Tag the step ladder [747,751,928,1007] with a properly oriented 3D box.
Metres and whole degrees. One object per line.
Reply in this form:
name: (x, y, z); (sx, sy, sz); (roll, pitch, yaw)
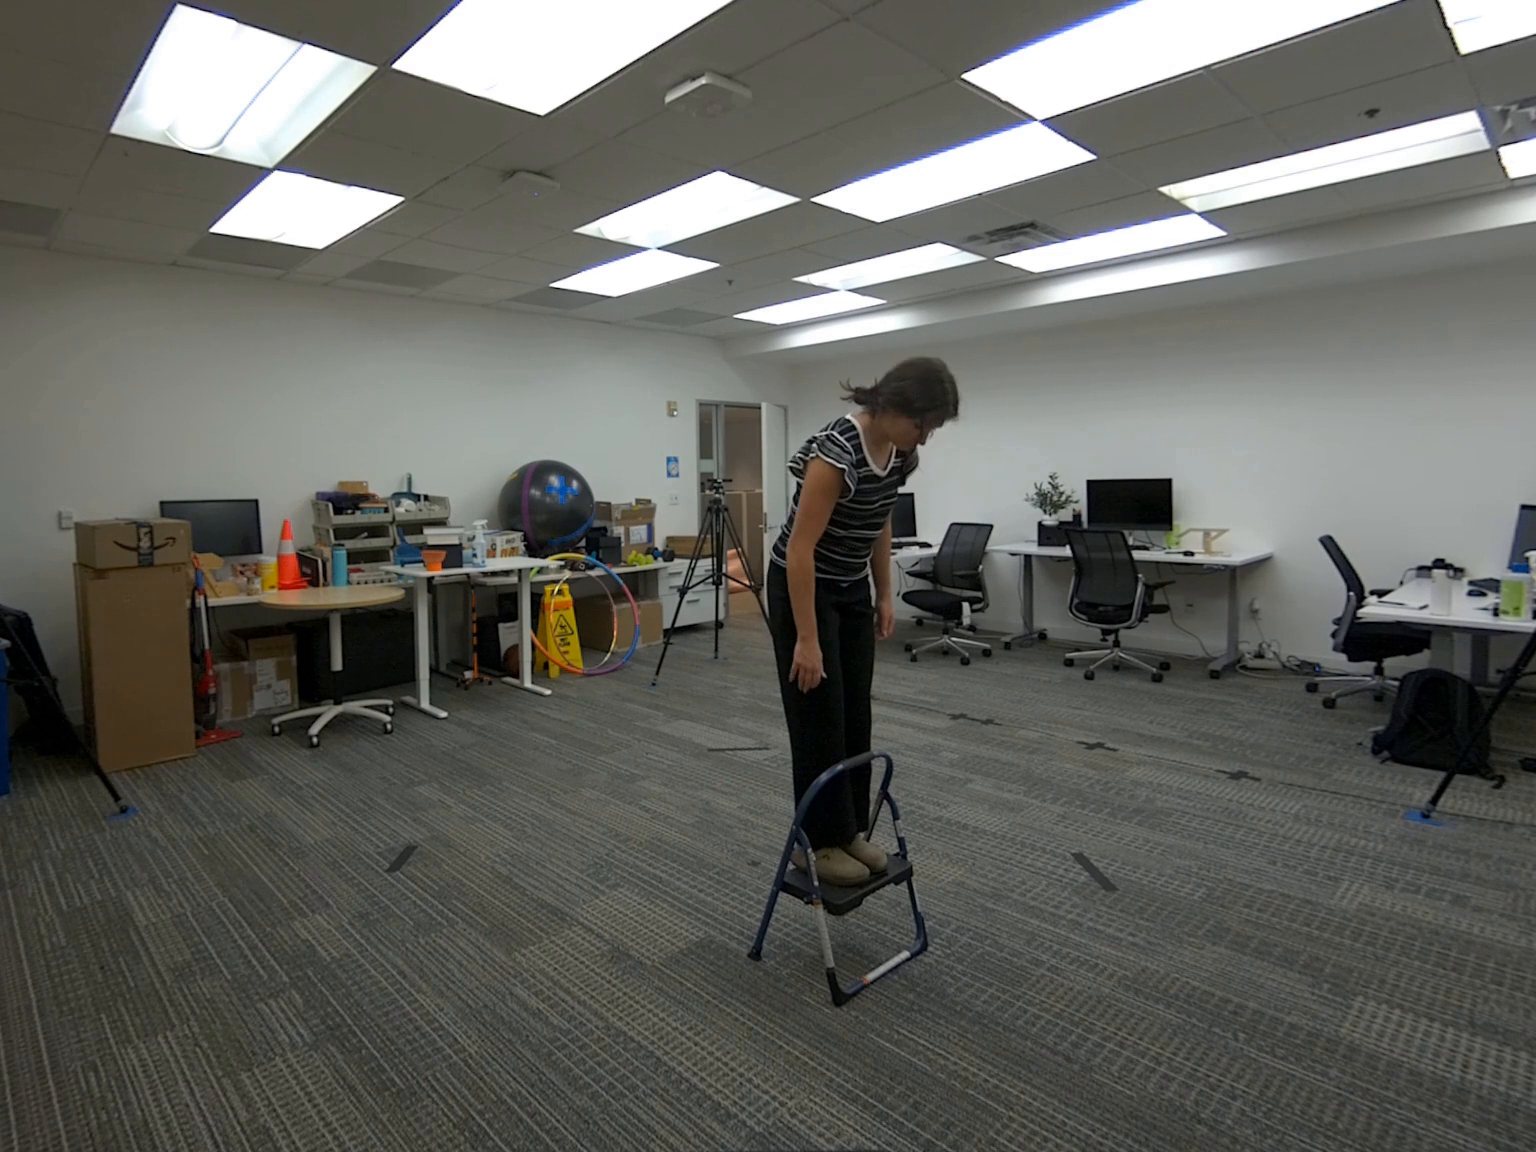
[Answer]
step ladder: (0.209, 0.810, 2.496); (0.419, 0.604, 0.360); (-6, 6, -44)
